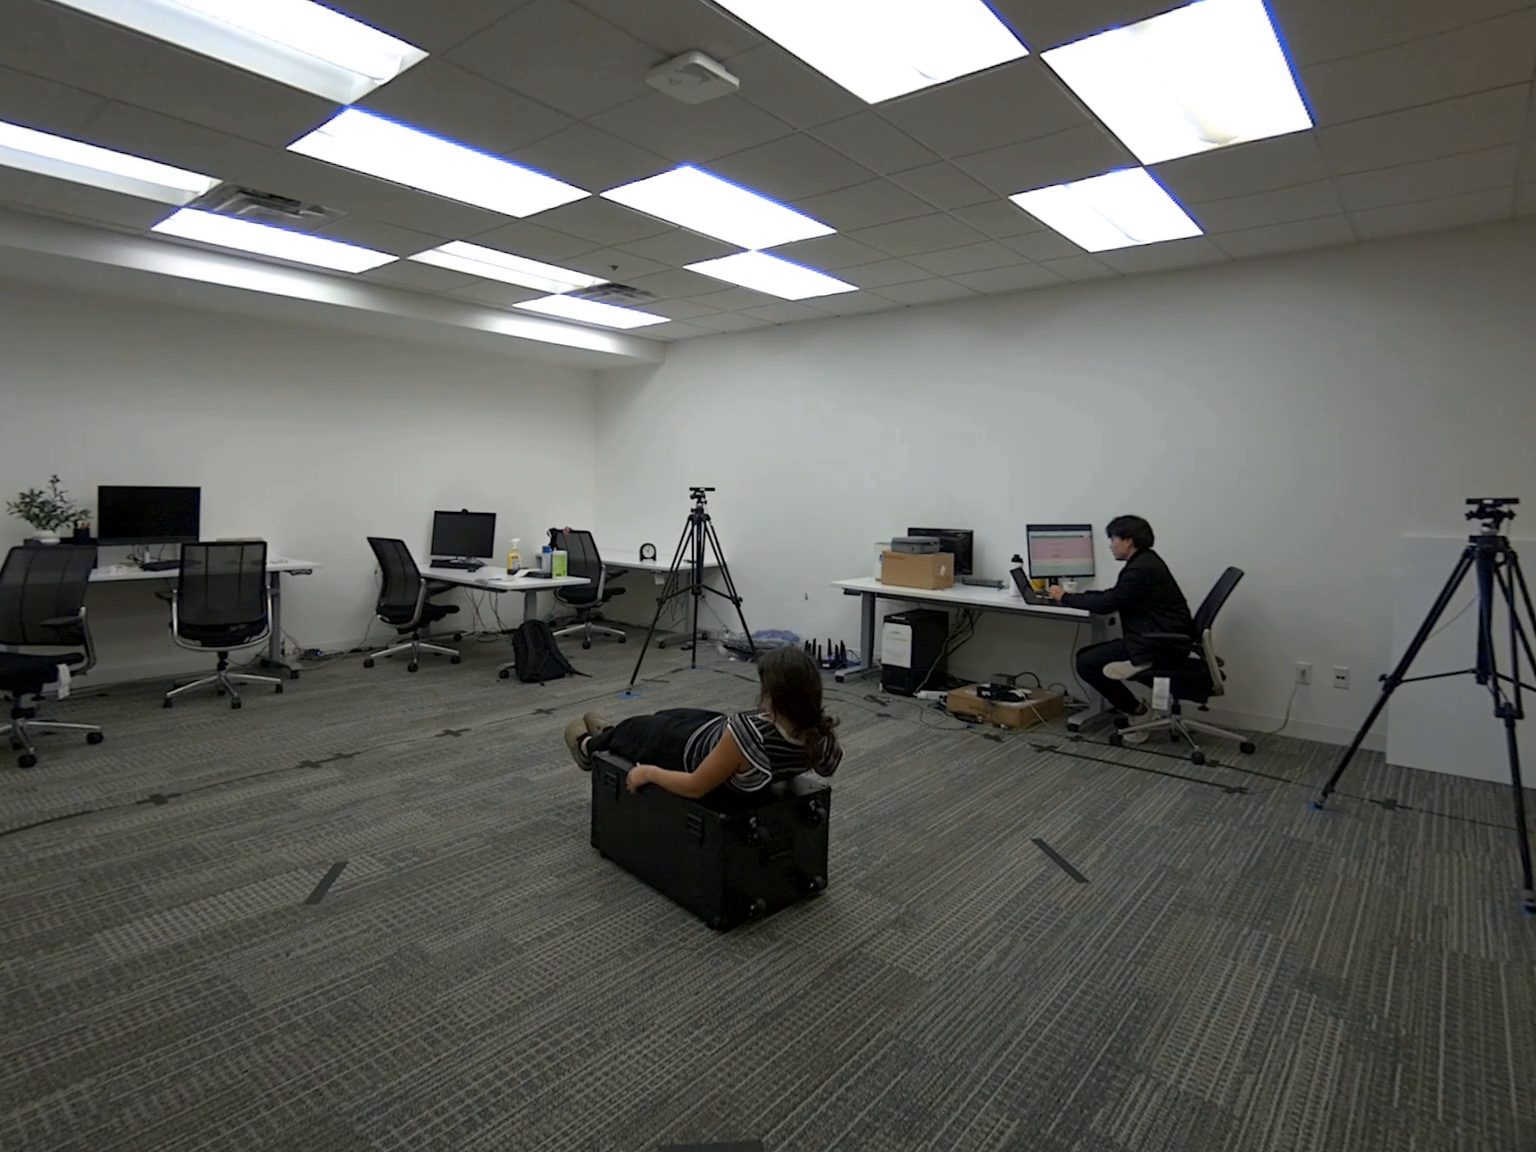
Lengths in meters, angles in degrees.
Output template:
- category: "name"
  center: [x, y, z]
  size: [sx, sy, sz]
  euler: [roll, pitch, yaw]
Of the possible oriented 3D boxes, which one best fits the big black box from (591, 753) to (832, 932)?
- category: "big black box"
  center: [-0.213, 0.890, 3.042]
  size: [0.505, 0.395, 0.891]
  euler: [-2, 5, -41]
